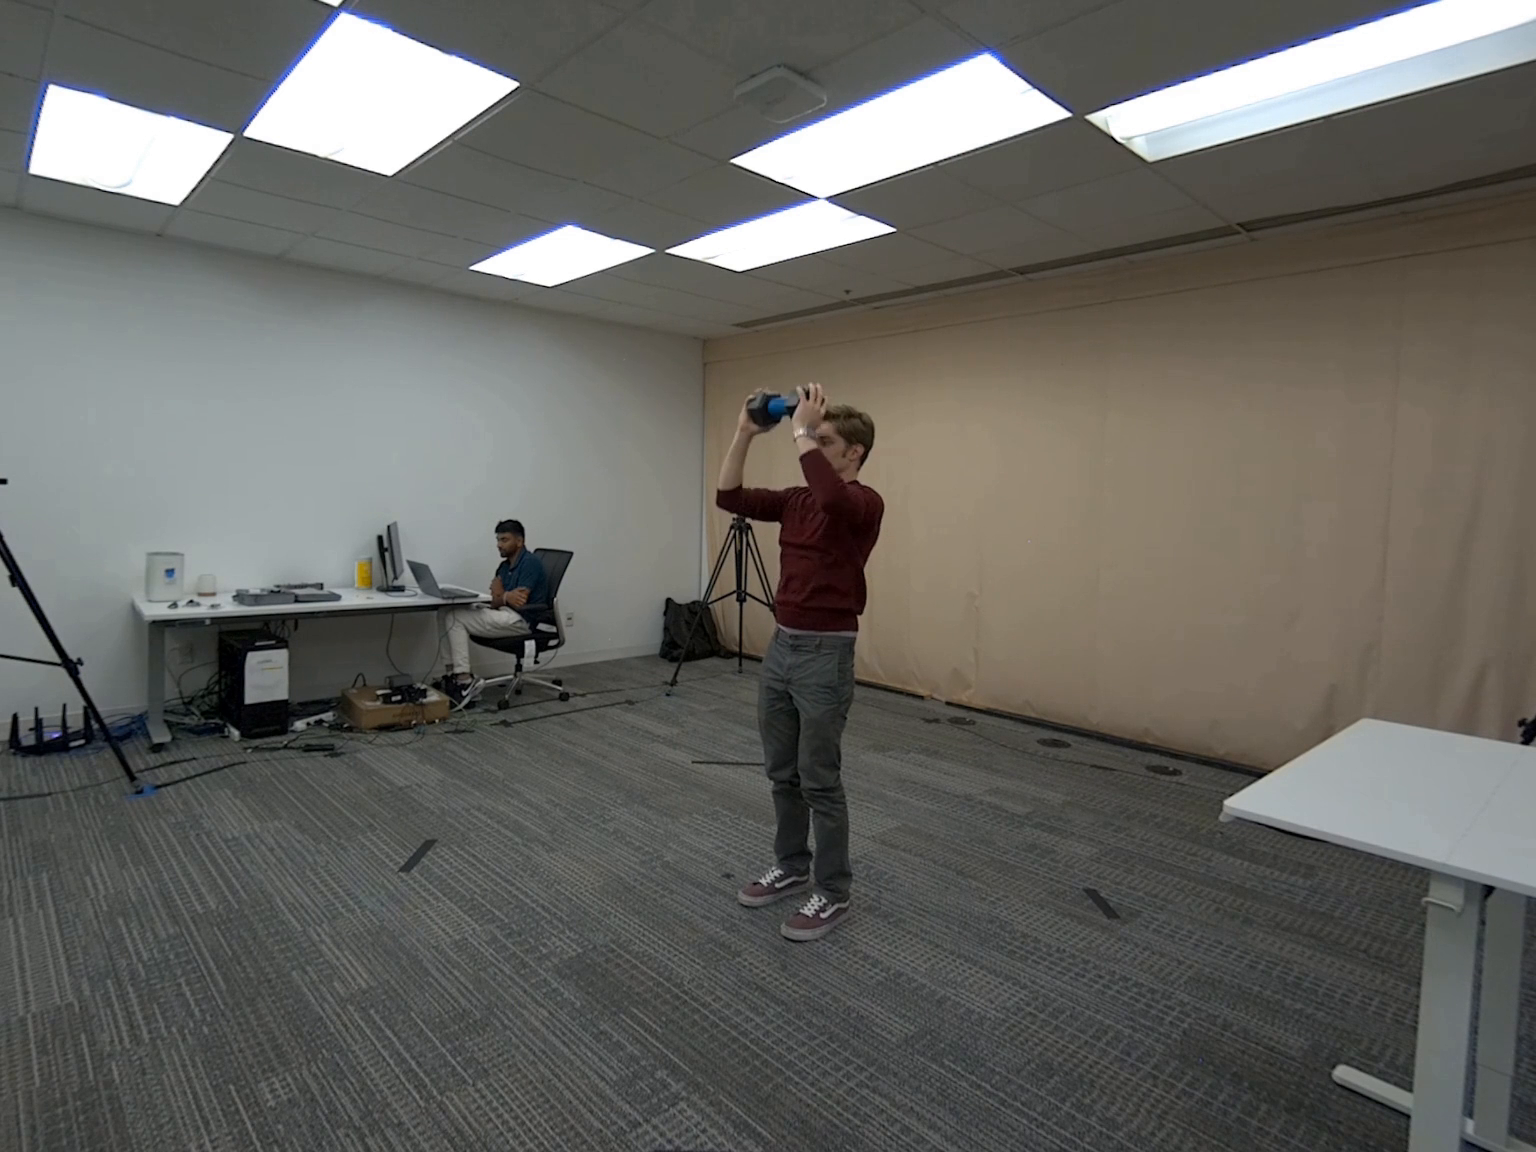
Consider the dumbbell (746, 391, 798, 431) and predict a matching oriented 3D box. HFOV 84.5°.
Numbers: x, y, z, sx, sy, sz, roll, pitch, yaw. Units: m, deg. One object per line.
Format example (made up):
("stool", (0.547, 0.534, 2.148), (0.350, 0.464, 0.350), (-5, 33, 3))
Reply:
("dumbbell", (0.055, -0.551, 2.747), (0.106, 0.123, 0.301), (29, -12, -33))
